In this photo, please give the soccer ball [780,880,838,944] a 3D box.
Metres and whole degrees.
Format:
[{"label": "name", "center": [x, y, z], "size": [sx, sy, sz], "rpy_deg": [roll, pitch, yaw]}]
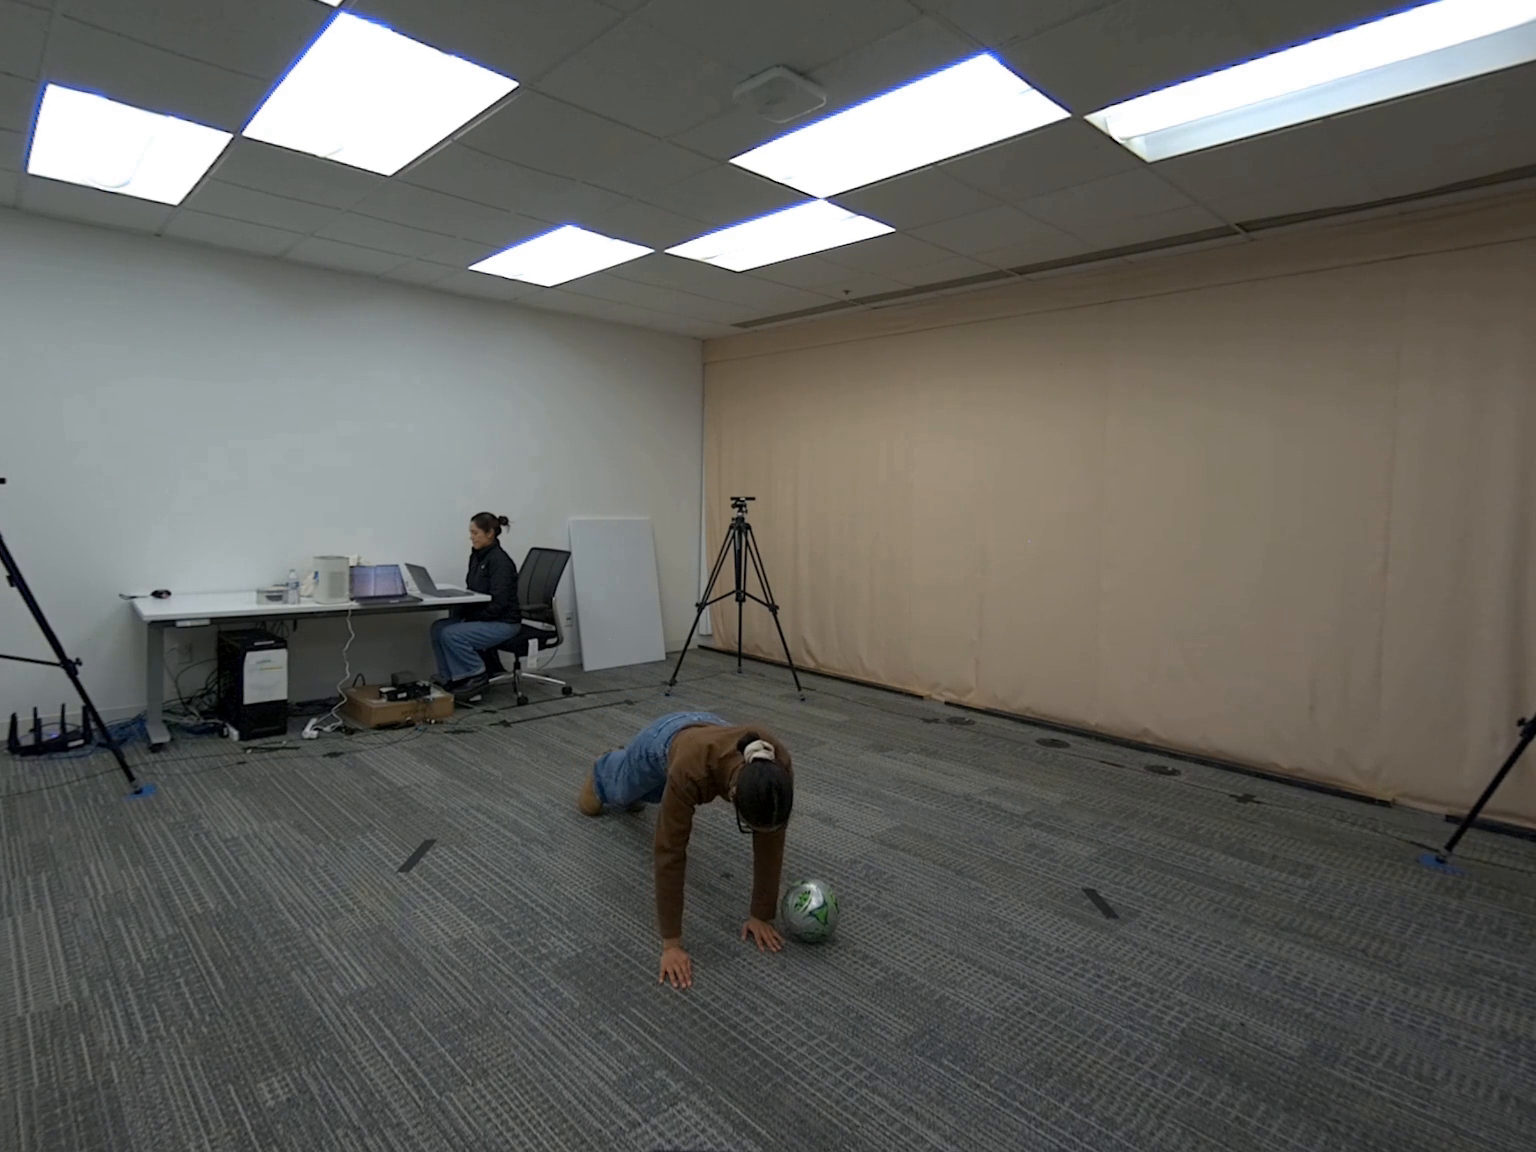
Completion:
[{"label": "soccer ball", "center": [0.135, 1.067, 2.668], "size": [0.187, 0.187, 0.188], "rpy_deg": [1, 4, -1]}]
